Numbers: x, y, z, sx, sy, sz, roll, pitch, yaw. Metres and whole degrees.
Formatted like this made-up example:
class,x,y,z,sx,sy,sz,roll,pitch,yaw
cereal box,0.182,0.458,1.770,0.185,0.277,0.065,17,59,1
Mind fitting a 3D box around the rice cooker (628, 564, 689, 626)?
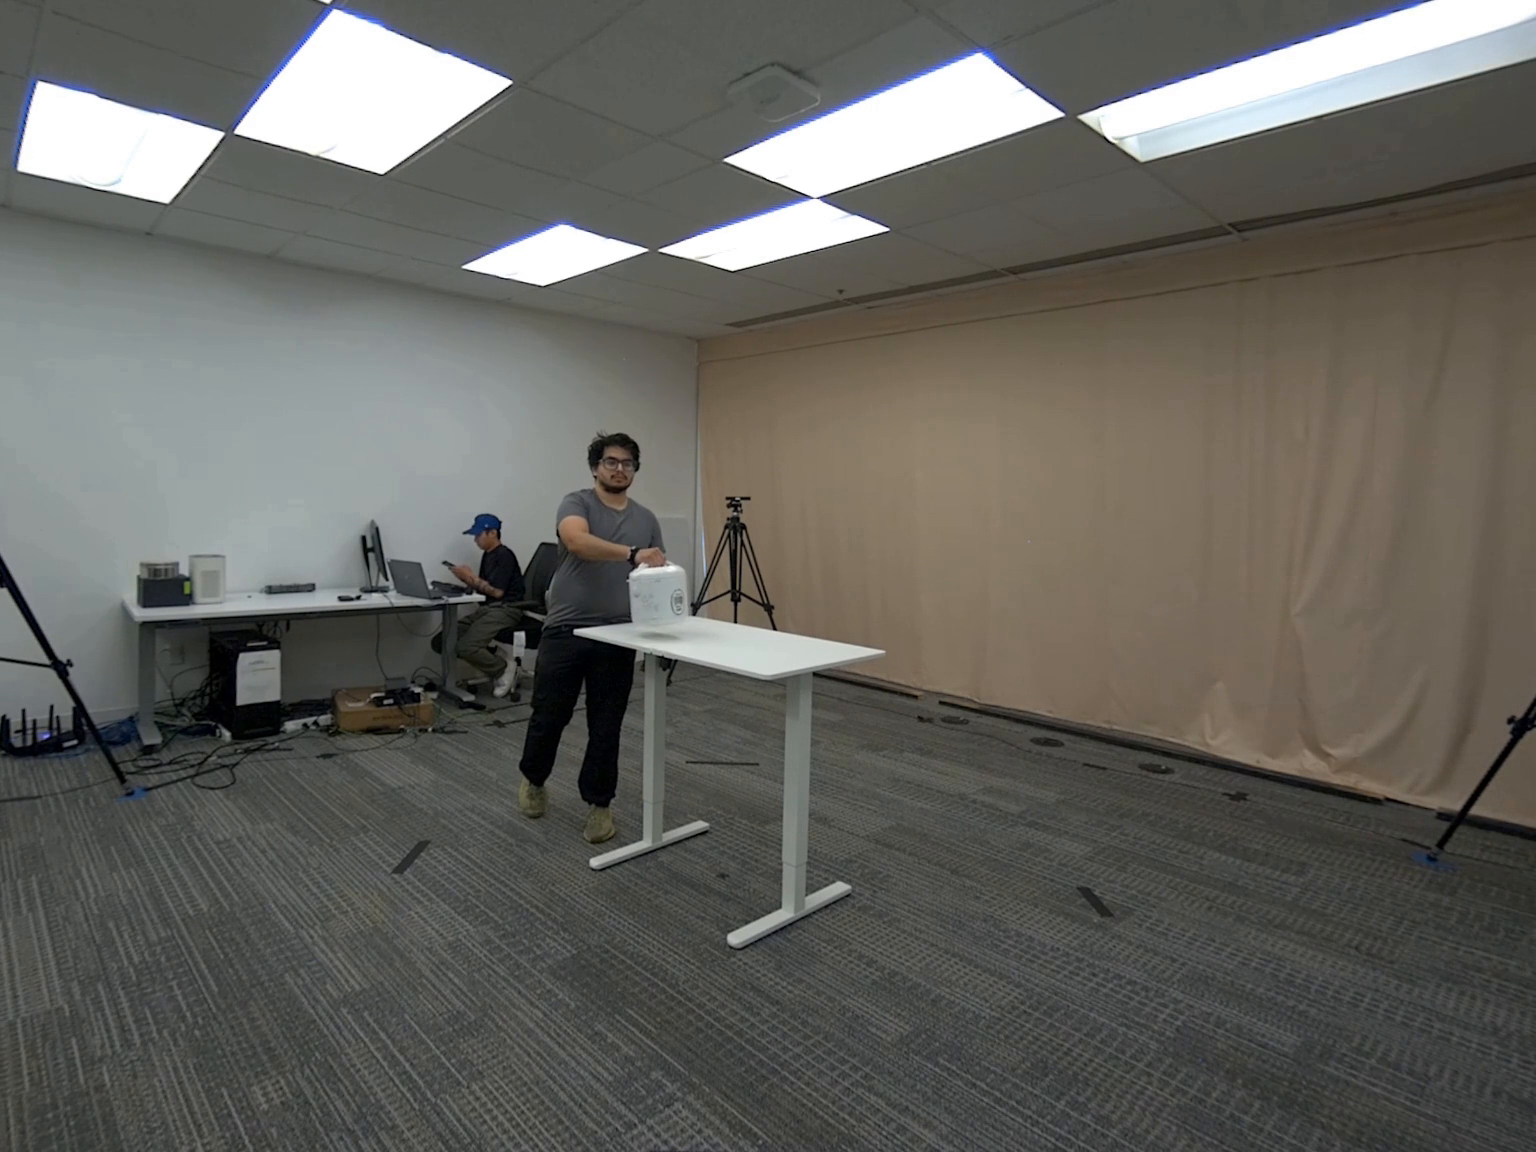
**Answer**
class,x,y,z,sx,sy,sz,roll,pitch,yaw
rice cooker,-0.405,0.060,3.040,0.216,0.232,0.222,-6,2,-43
